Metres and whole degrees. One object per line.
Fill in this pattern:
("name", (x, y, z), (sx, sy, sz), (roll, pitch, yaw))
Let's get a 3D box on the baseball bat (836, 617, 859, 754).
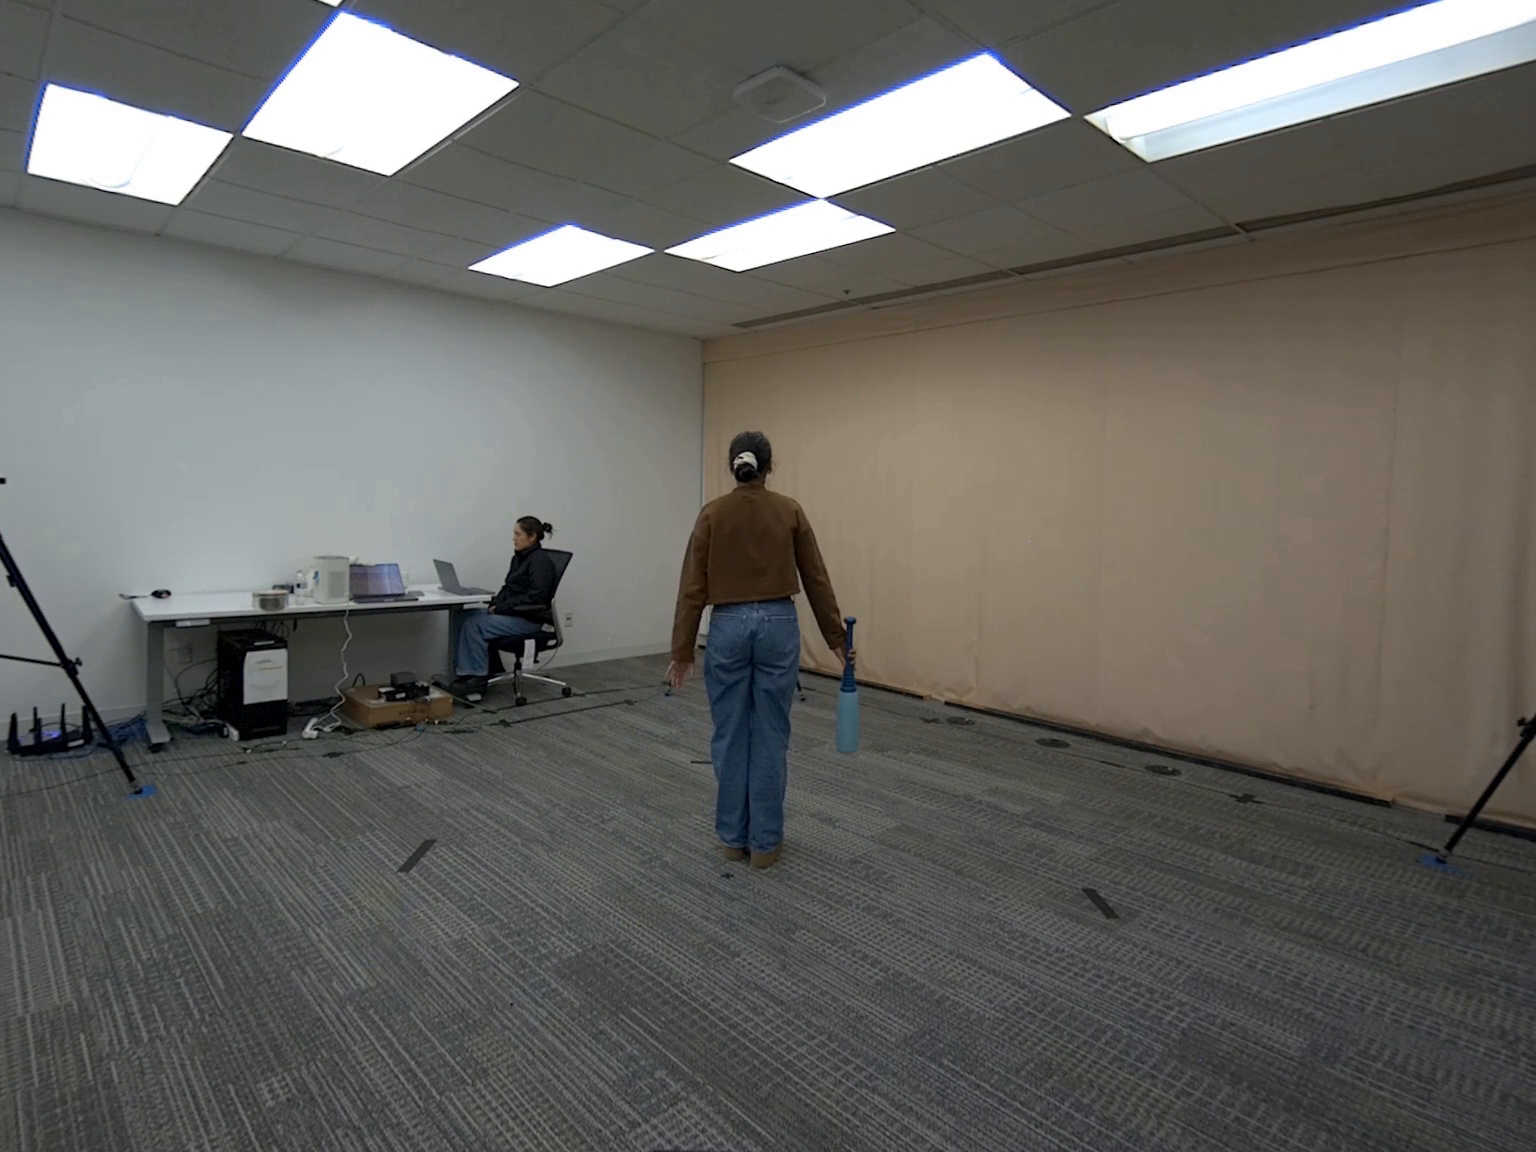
("baseball bat", (0.299, 0.428, 3.308), (0.089, 0.539, 0.090), (2, 11, -2))
